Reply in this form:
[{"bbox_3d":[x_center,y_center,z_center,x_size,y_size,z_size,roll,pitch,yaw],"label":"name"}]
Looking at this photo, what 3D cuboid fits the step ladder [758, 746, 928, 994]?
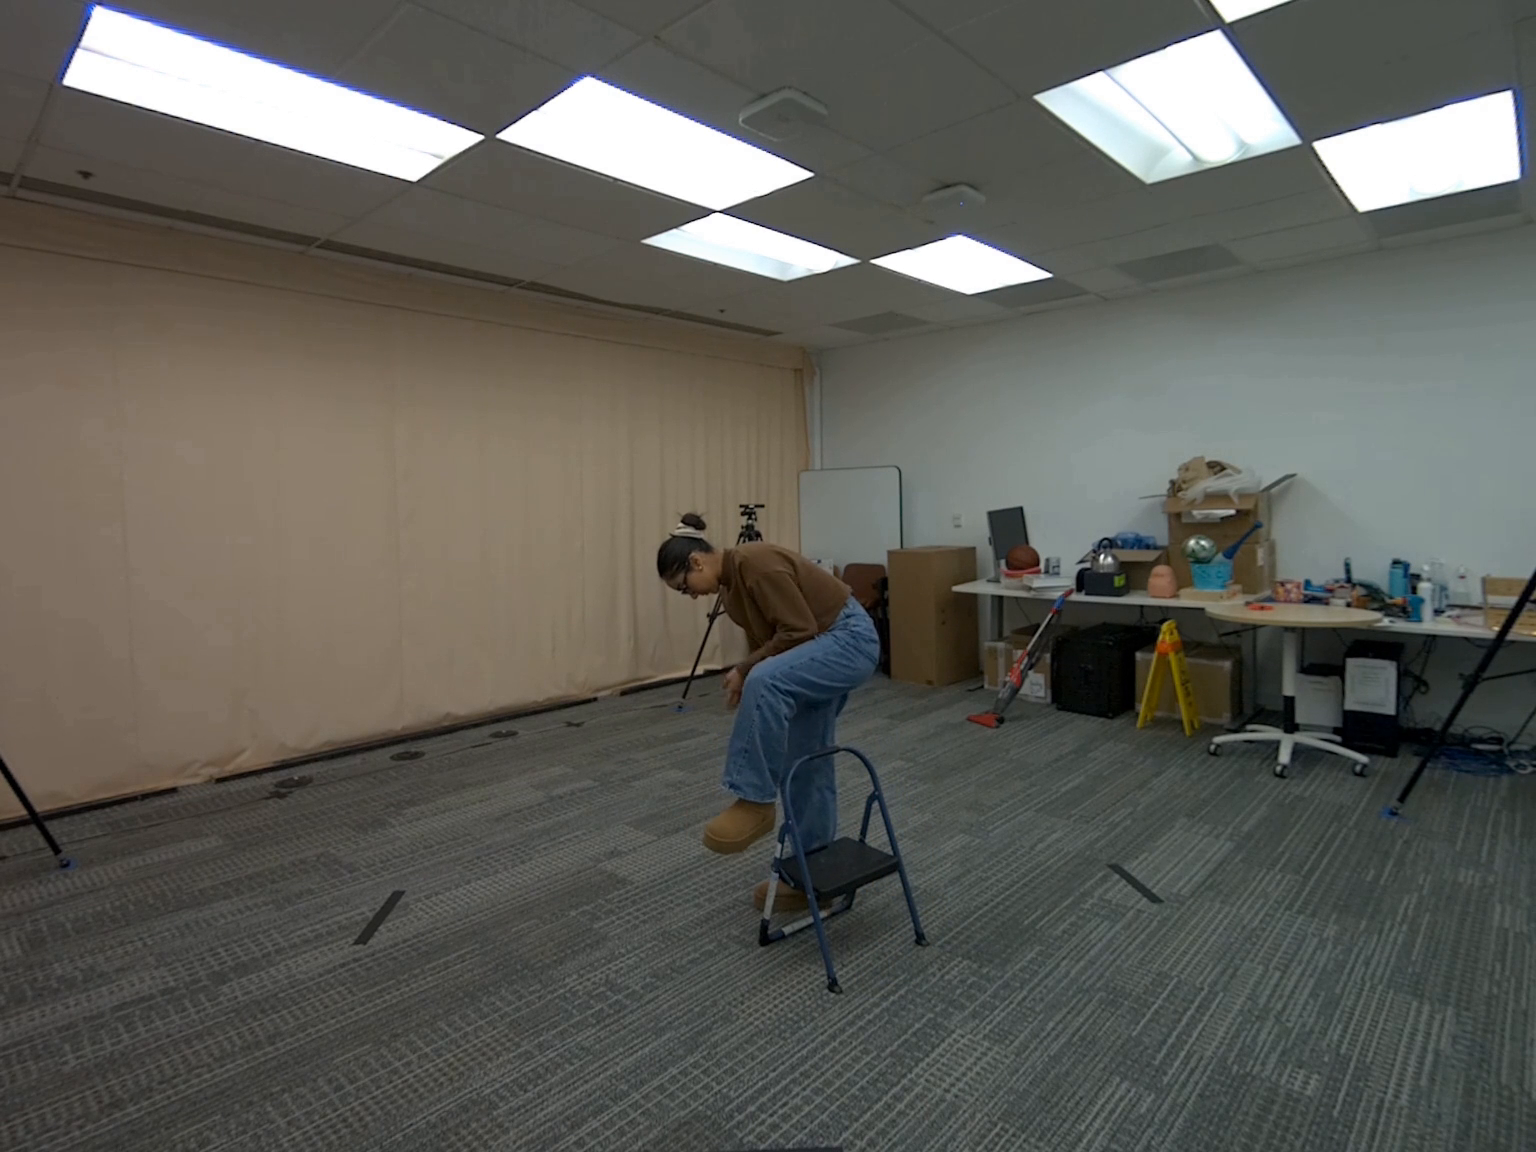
[{"bbox_3d":[0.237,0.862,2.638,0.418,0.605,0.360,-4,4,-40],"label":"step ladder"}]
